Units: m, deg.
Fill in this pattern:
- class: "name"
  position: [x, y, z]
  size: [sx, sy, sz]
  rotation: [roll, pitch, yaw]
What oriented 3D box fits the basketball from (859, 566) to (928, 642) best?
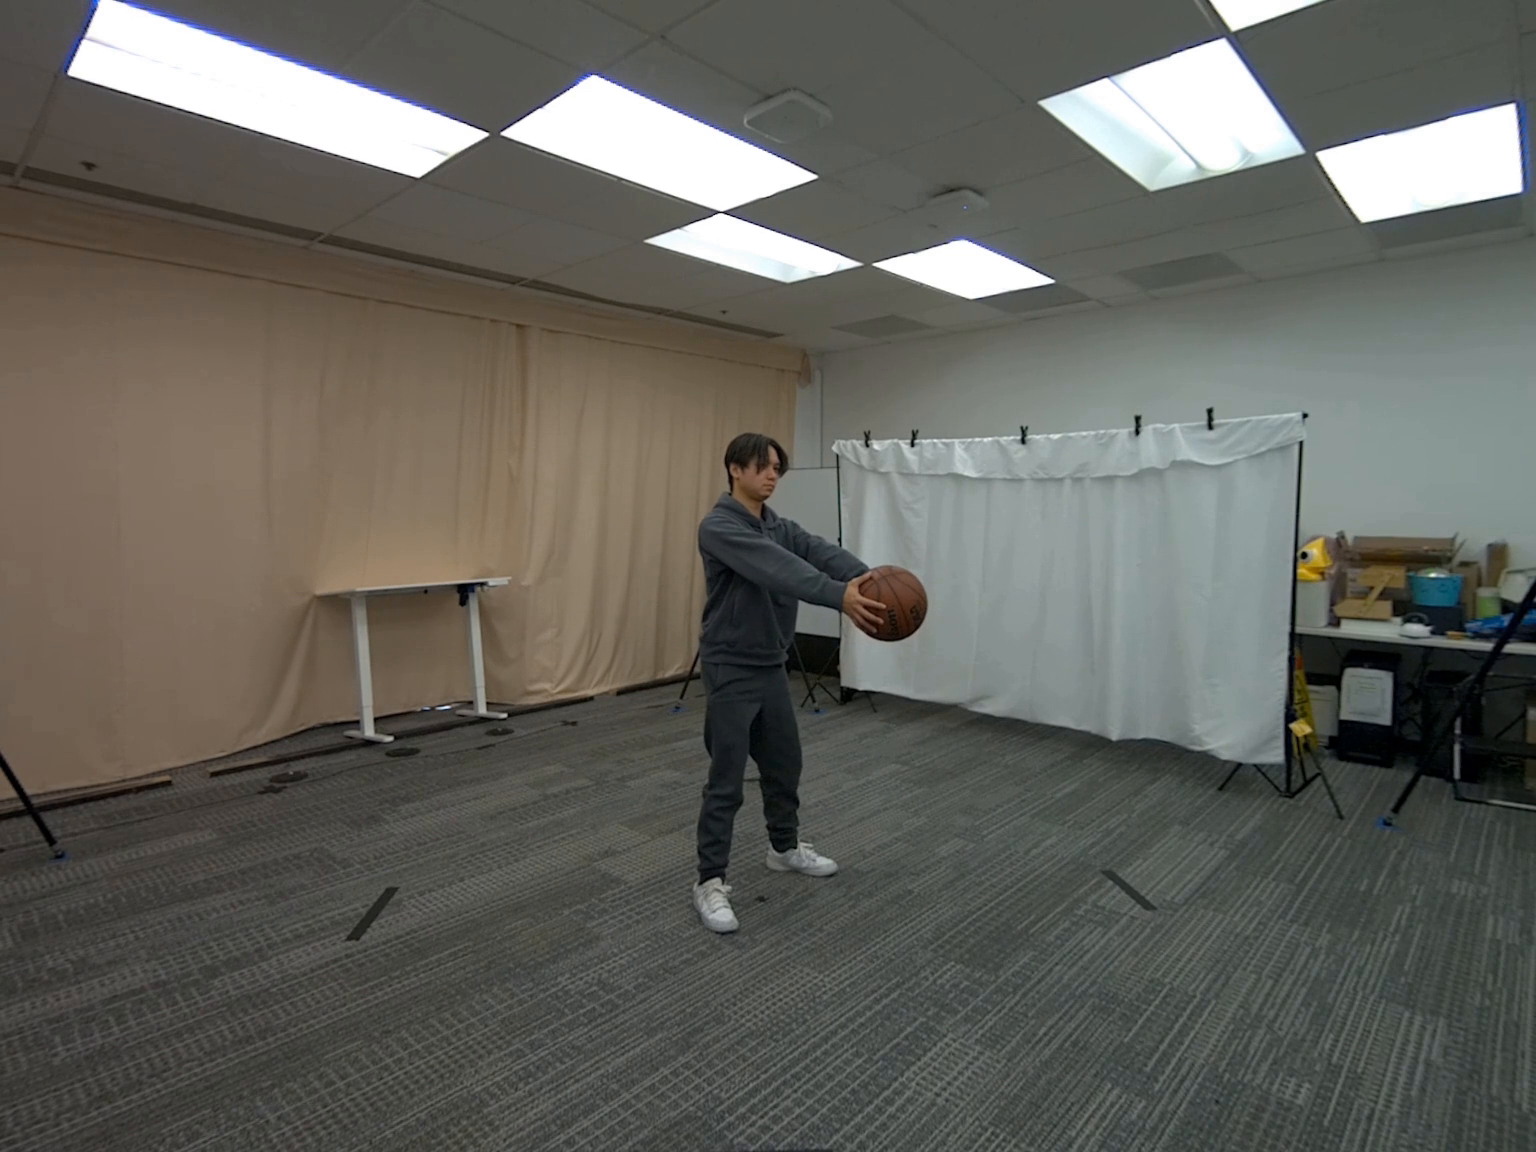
- class: "basketball"
  position: [0.376, 0.090, 2.630]
  size: [0.236, 0.235, 0.237]
  rotation: [0, 4, -2]
